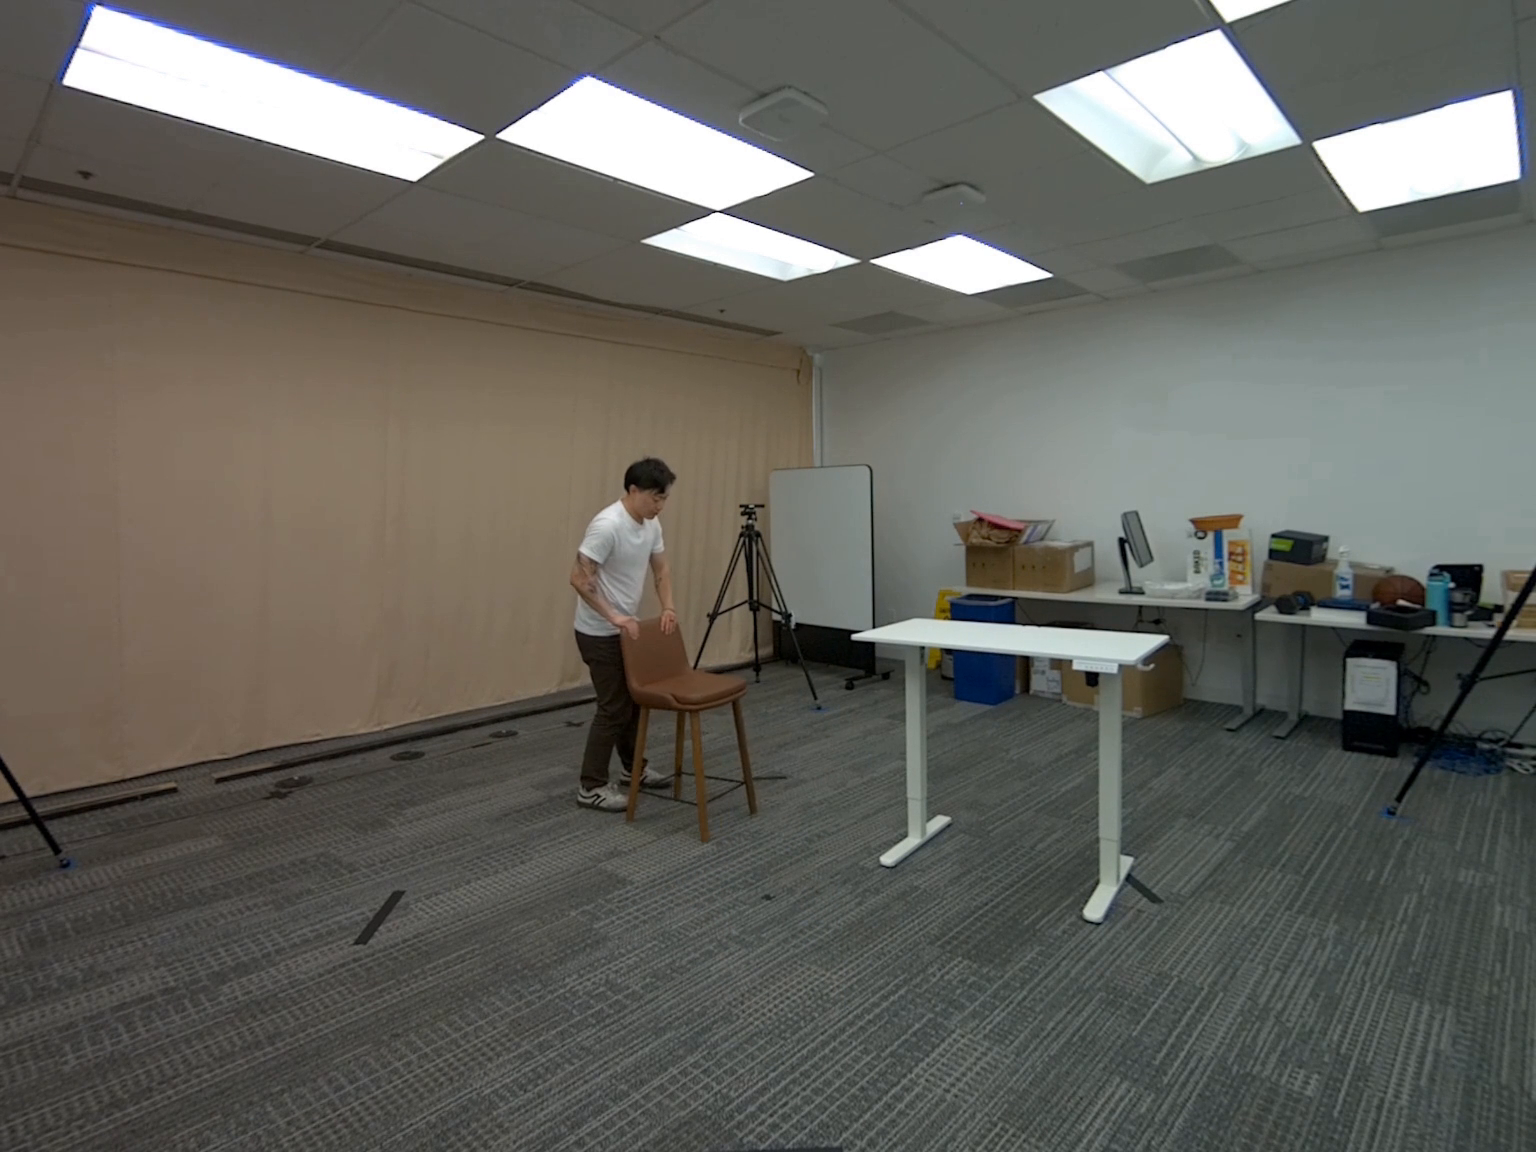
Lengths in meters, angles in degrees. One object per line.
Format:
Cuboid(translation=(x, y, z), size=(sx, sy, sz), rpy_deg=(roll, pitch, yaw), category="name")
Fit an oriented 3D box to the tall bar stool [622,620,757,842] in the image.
Cuboid(translation=(-0.363, 0.645, 3.749), size=(0.481, 0.889, 0.444), rpy_deg=(-2, 2, 34), category="tall bar stool")
